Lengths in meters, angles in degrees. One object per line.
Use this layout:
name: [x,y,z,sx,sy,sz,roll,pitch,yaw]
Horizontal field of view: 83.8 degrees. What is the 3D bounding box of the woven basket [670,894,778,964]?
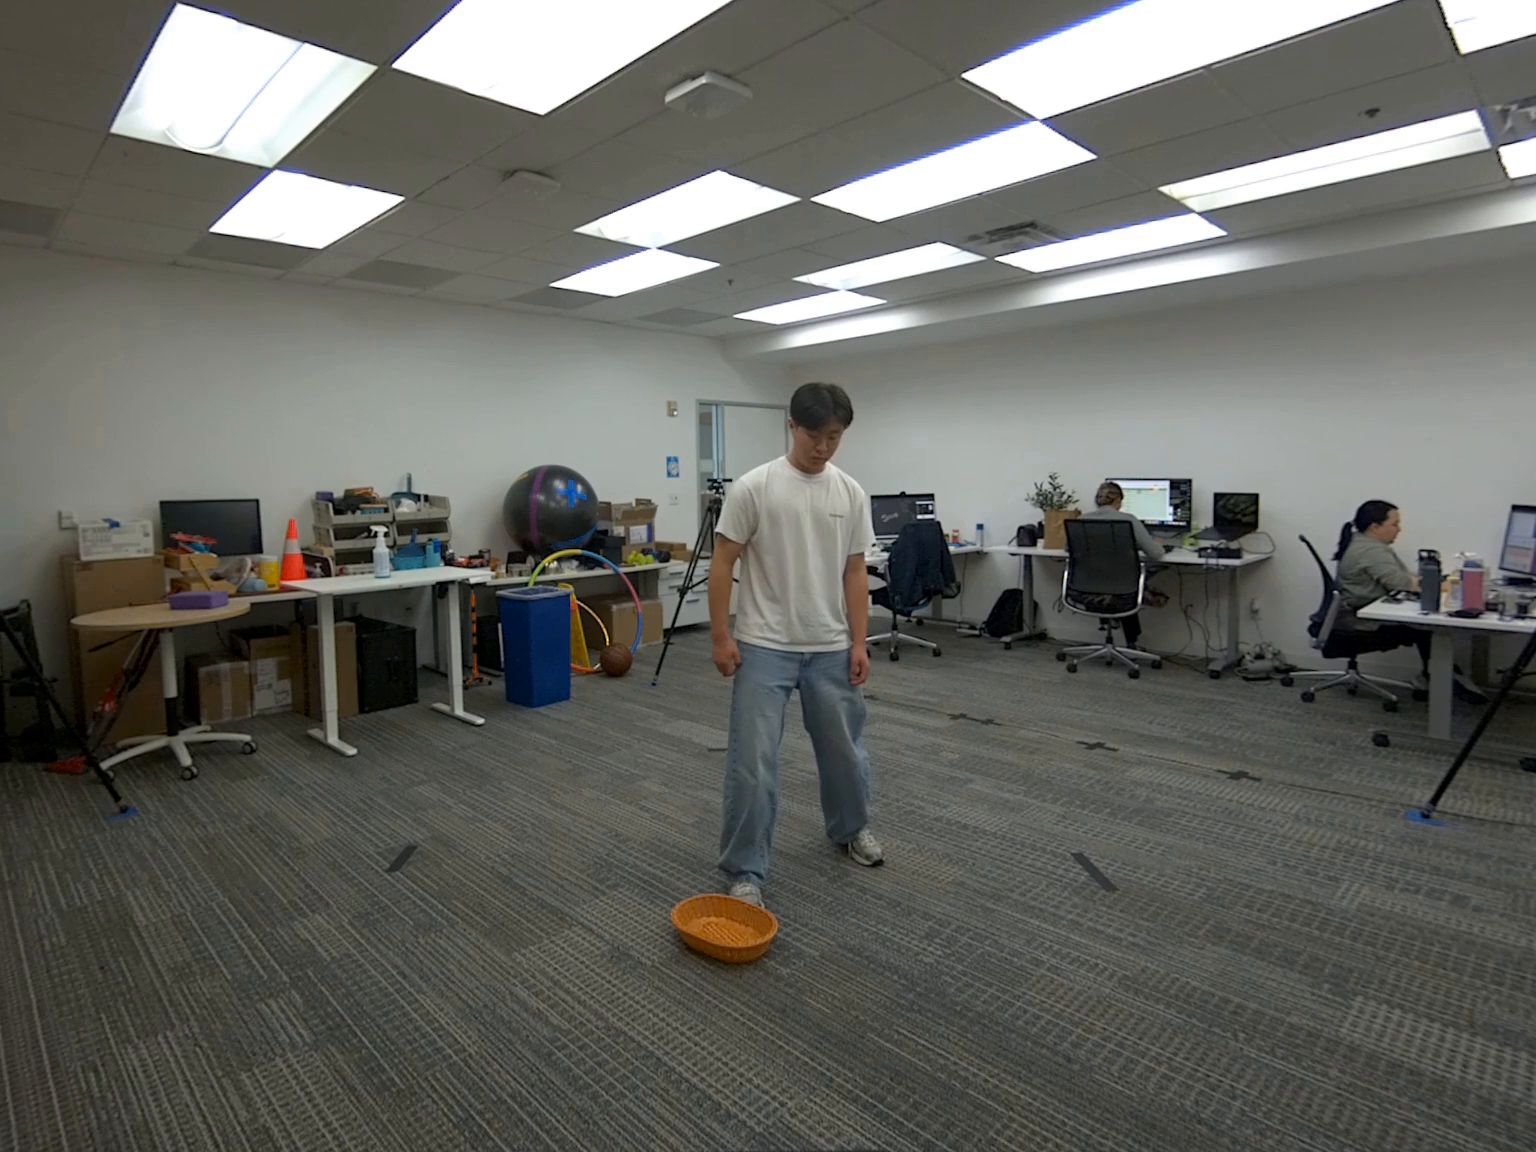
woven basket: [-0.126,1.071,2.589,0.361,0.073,0.246,4,8,38]
